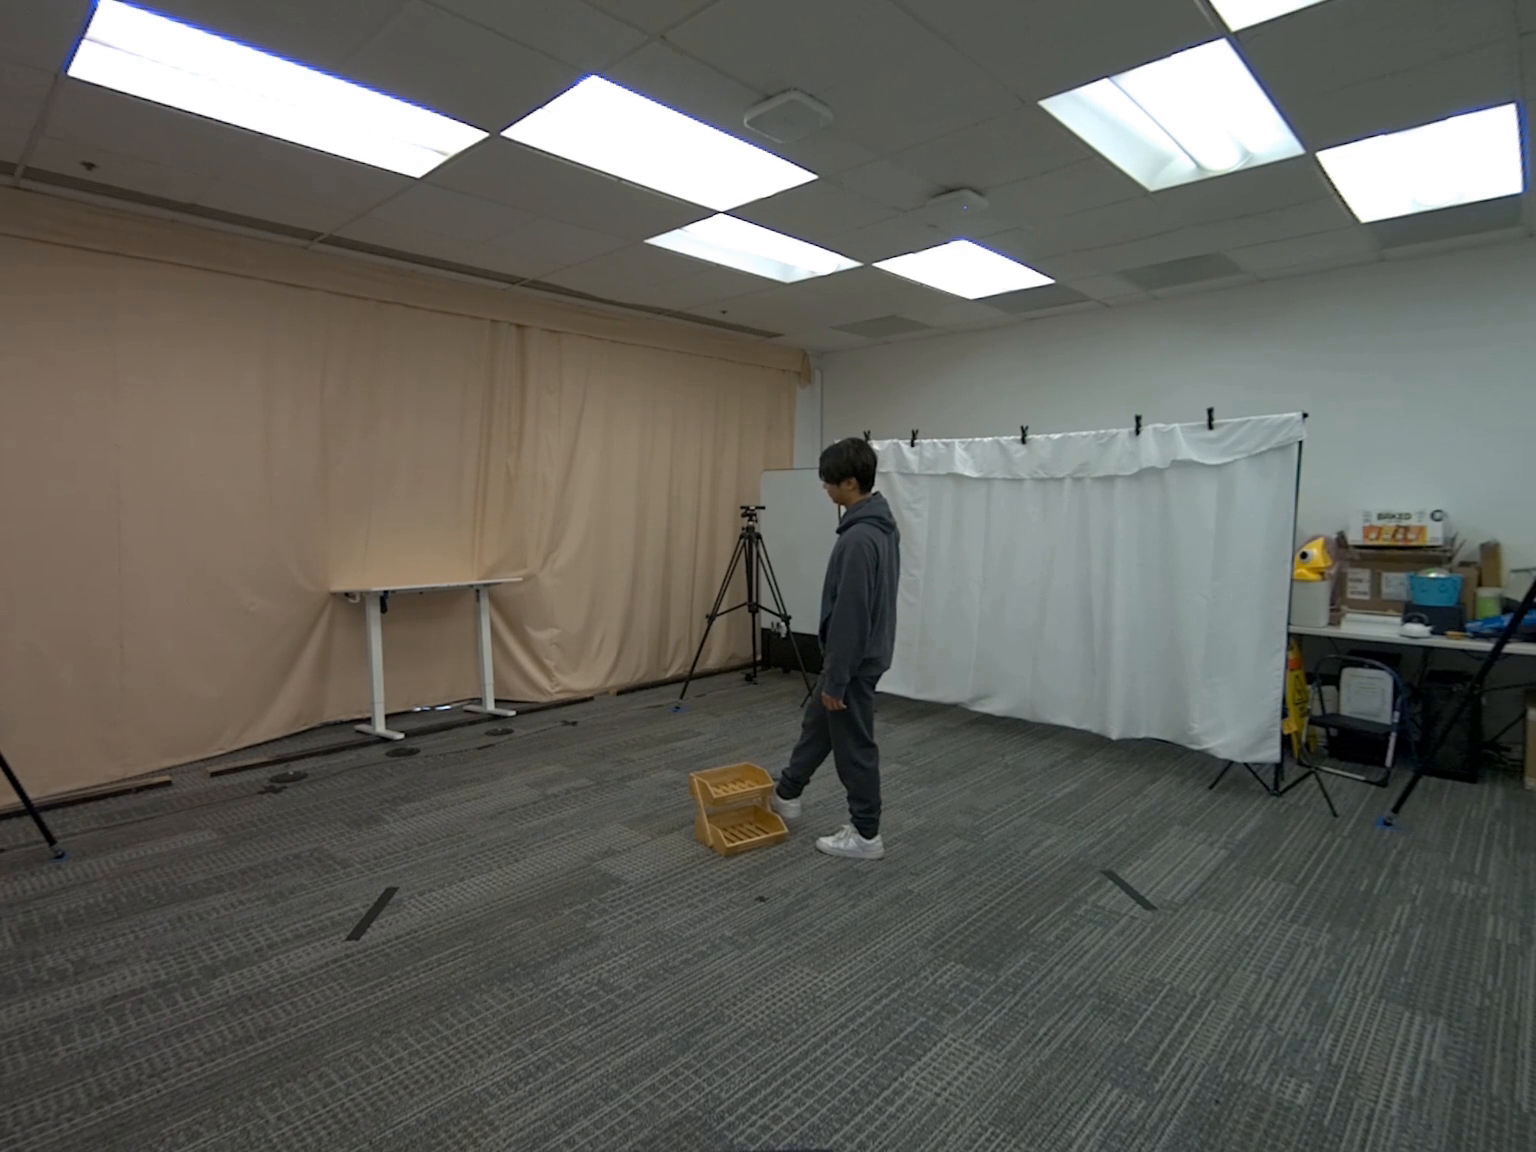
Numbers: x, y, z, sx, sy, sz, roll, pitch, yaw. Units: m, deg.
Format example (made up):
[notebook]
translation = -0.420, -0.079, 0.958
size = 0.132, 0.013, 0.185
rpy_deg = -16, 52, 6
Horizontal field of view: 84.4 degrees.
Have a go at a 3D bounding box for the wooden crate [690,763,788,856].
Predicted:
[wooden crate]
translation = -0.126, 0.966, 3.528
size = 0.316, 0.273, 0.311
rpy_deg = -3, 4, -32
